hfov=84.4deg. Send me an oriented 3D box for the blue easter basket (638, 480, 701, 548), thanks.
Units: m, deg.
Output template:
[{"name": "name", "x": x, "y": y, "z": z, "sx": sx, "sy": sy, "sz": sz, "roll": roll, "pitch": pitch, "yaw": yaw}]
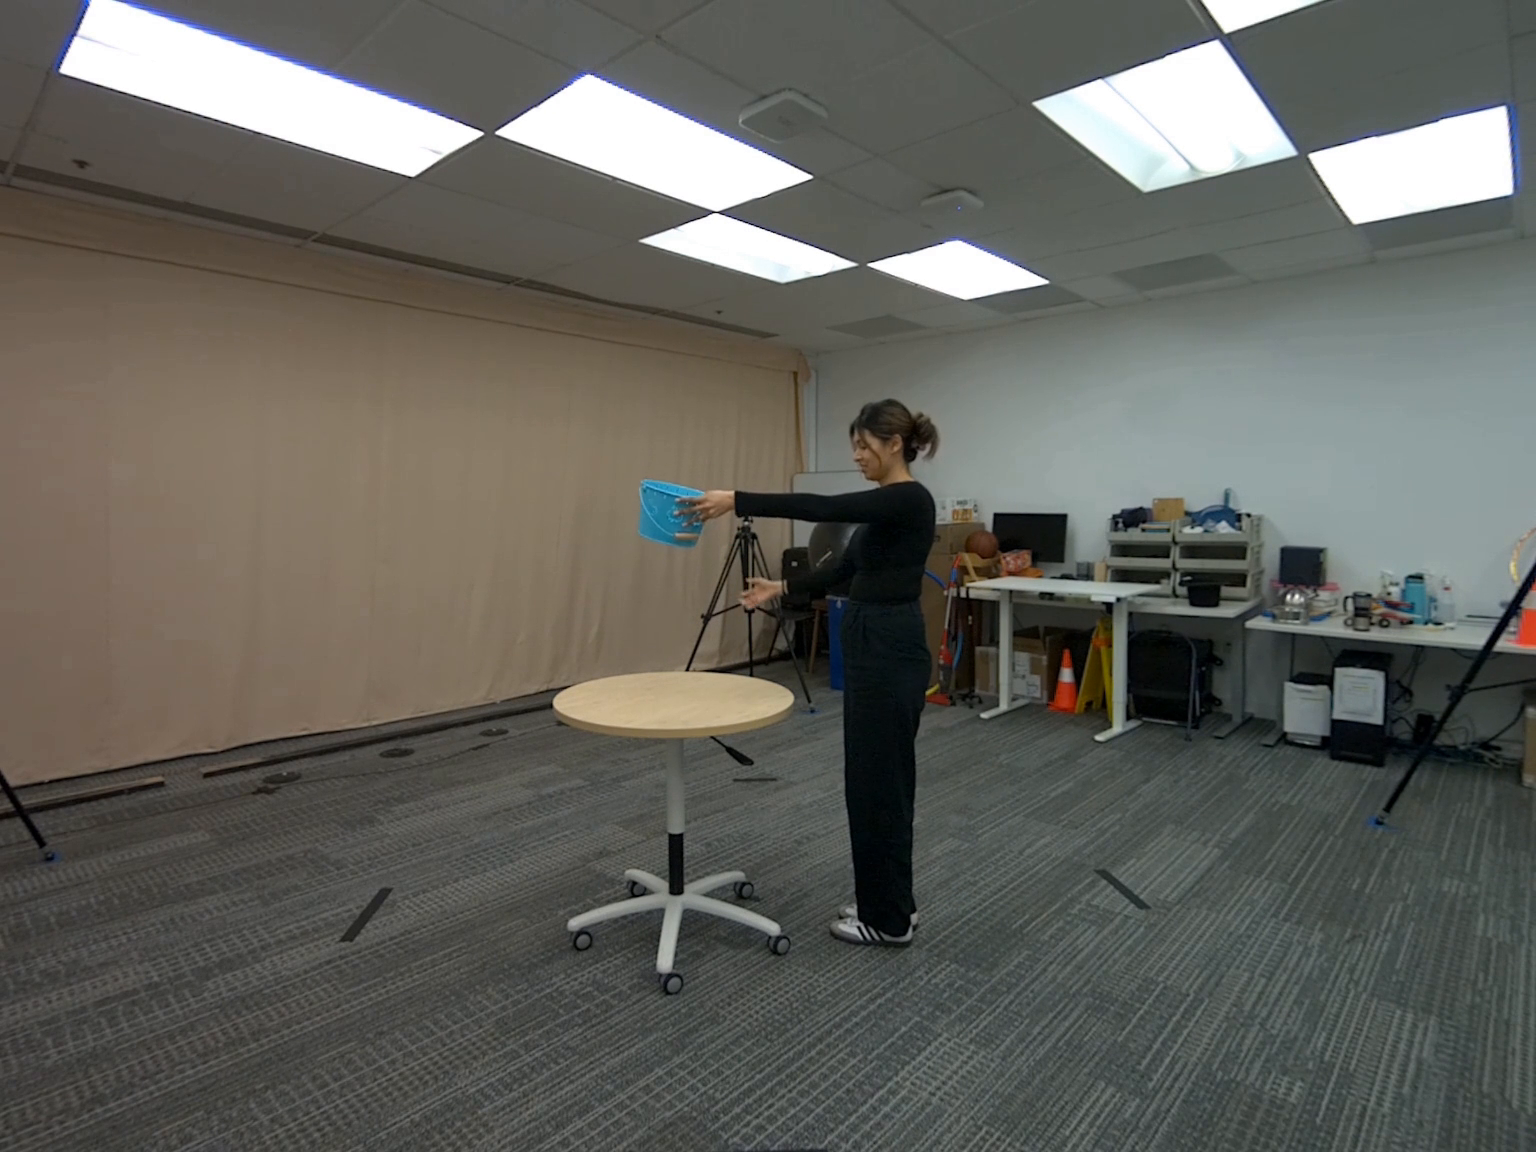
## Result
[{"name": "blue easter basket", "x": -0.281, "y": -0.188, "z": 2.519, "sx": 0.243, "sy": 0.155, "sz": 0.245, "roll": 11, "pitch": 11, "yaw": -4}]
